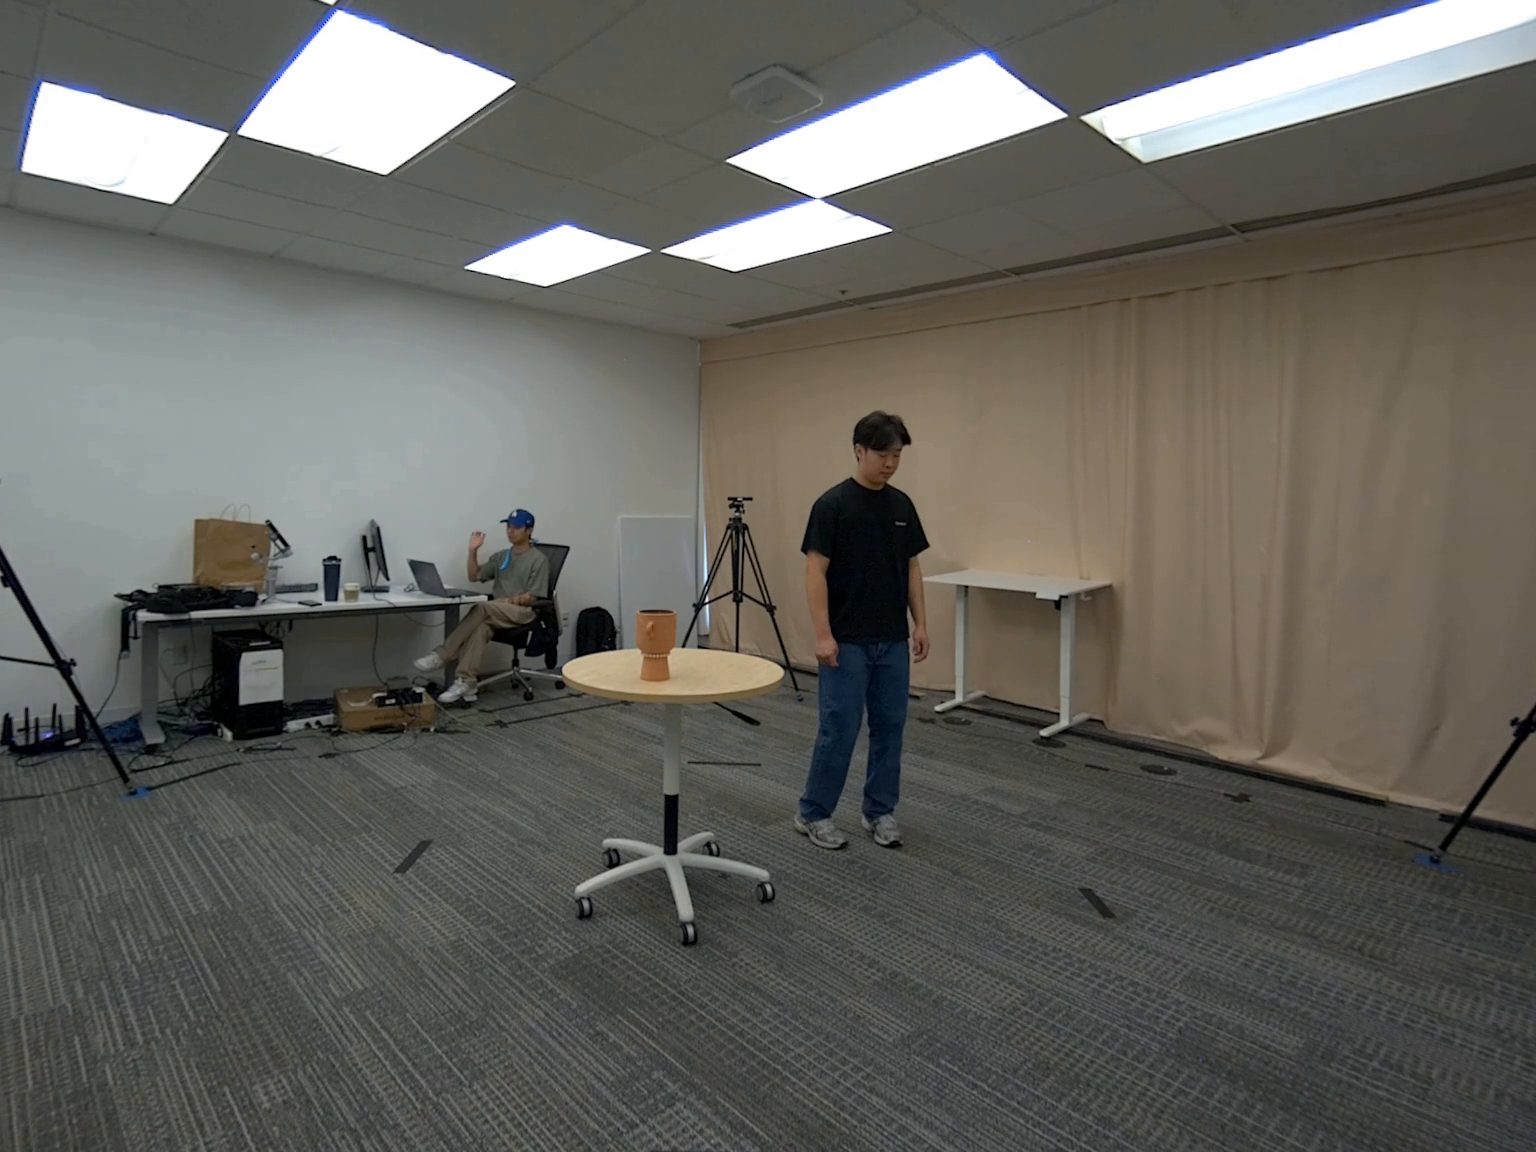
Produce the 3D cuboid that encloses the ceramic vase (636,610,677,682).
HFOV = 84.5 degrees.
[{"bbox_3d":[-0.372,0.229,2.756,0.155,0.219,0.138,-1,6,-43],"label":"ceramic vase"}]
